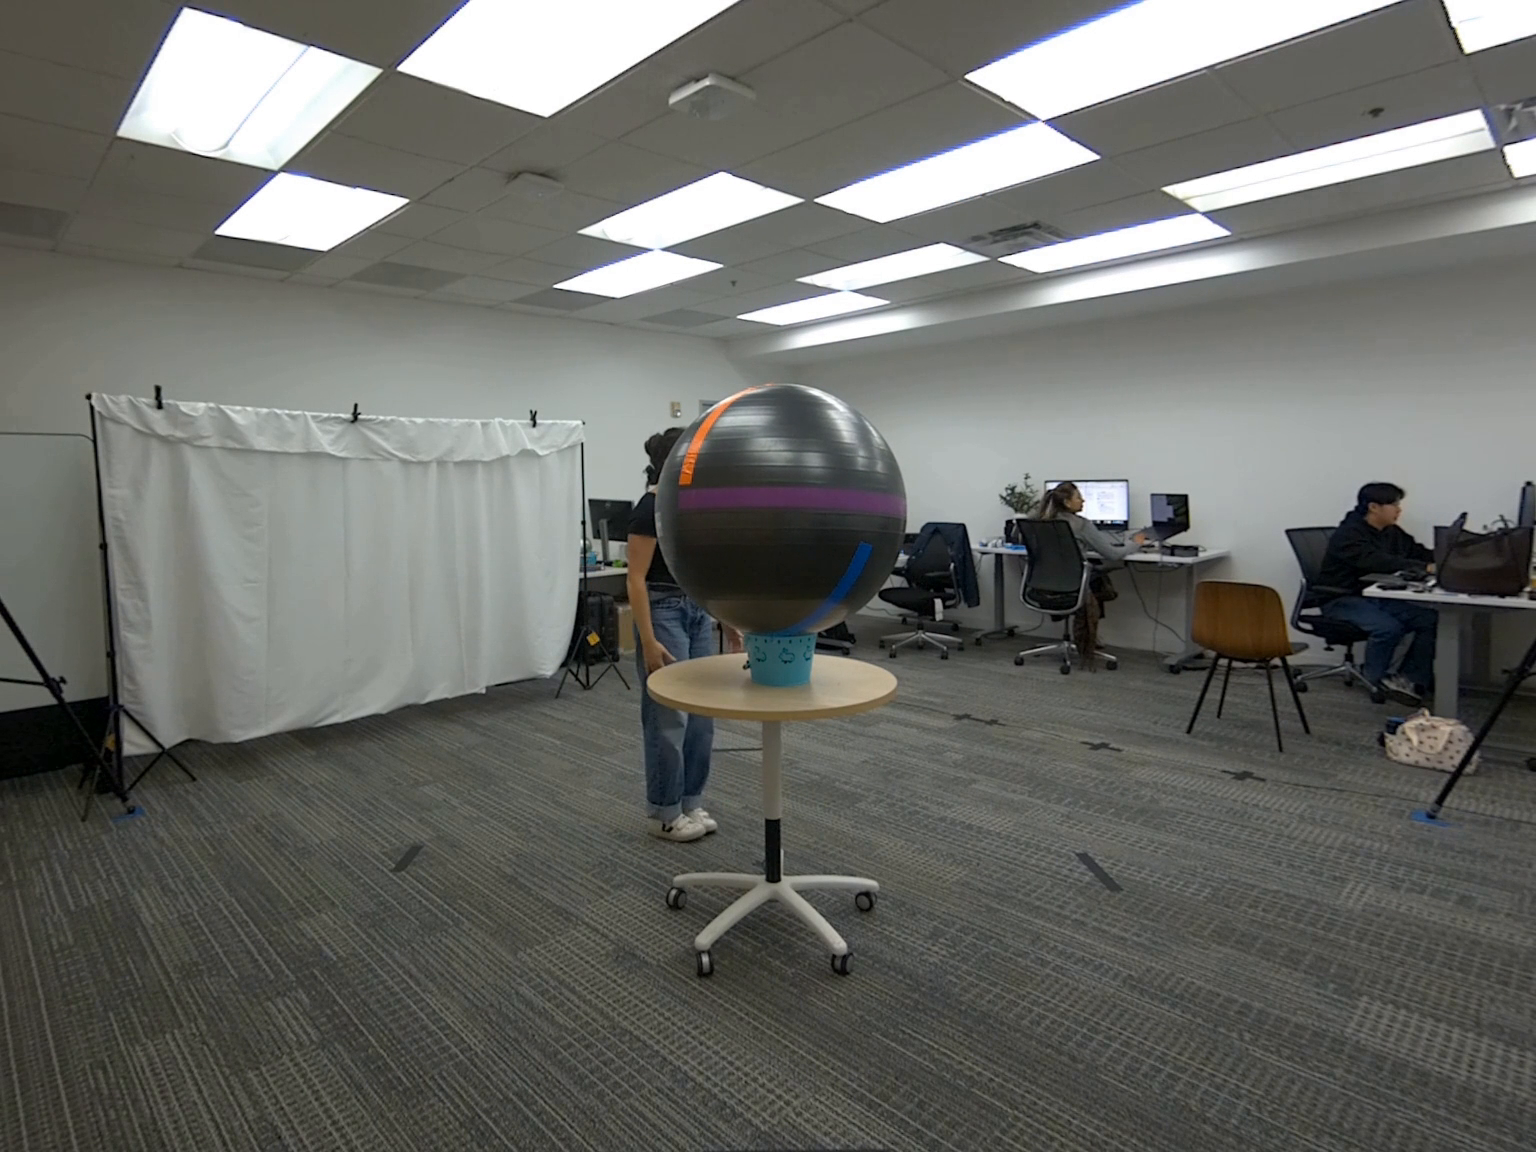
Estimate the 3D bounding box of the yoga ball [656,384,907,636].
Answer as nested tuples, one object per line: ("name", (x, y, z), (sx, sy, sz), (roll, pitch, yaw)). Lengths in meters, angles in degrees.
("yoga ball", (0.042, -0.194, 2.581), (0.757, 0.755, 0.762), (-1, 5, -2))
